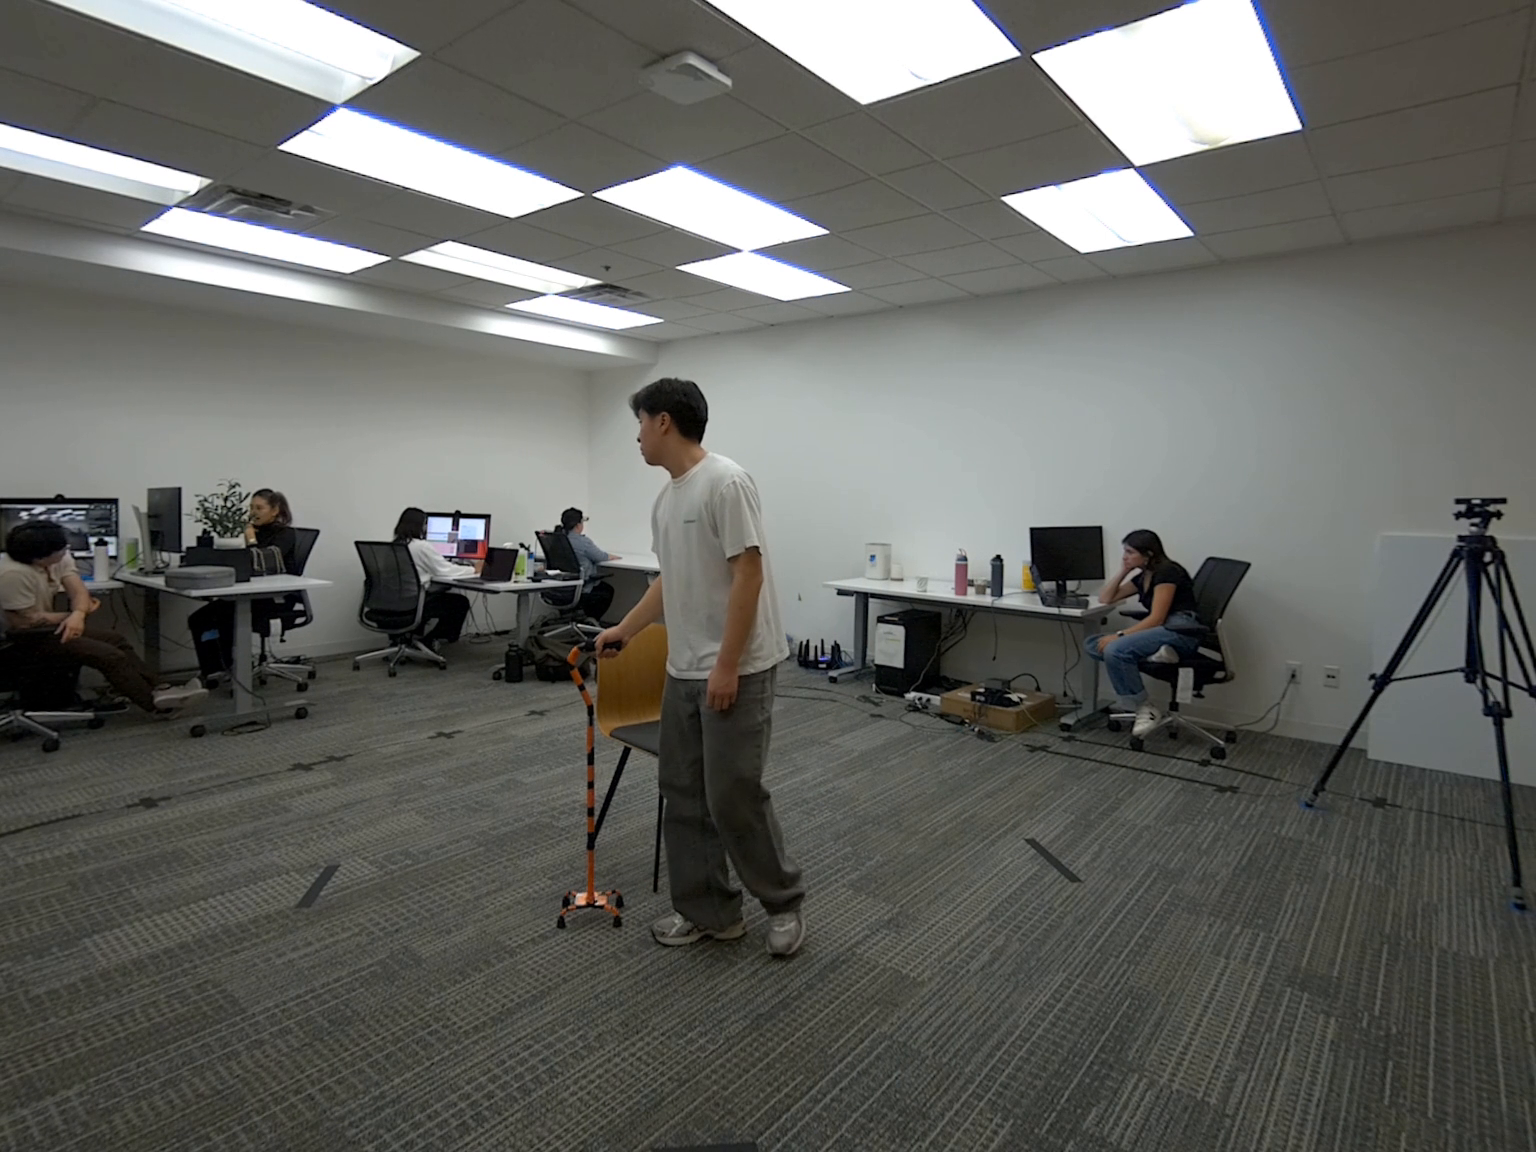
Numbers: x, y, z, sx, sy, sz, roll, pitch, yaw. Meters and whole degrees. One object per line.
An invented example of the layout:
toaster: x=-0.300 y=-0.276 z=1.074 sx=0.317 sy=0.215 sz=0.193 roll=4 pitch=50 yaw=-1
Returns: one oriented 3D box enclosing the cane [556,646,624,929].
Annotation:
cane: x=-0.572 y=0.646 z=2.703 sx=0.205 sy=0.902 sz=0.153 roll=0 pitch=6 yaw=-6
